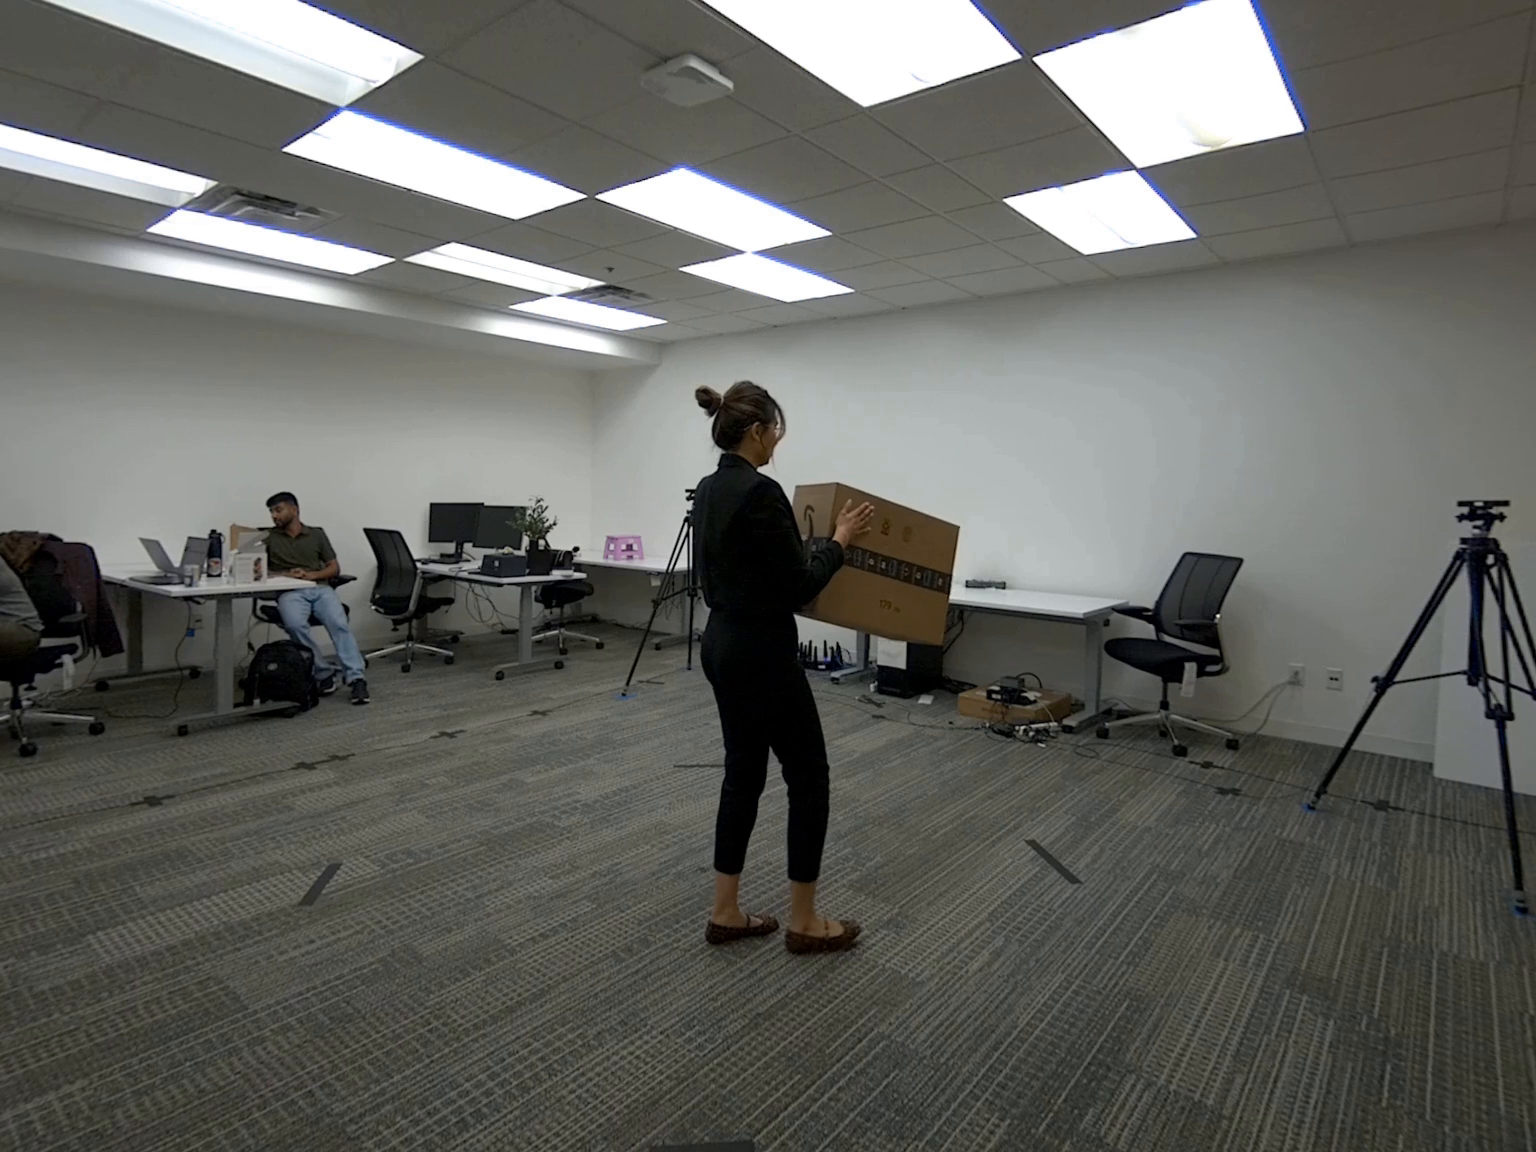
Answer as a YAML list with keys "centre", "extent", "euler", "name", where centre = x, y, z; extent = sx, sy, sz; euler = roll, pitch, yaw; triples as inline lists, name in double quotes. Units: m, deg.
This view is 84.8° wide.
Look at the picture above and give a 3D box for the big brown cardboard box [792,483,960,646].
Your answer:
- centre: [0.338, -0.038, 2.820]
  extent: [0.569, 0.420, 0.240]
  euler: [15, -8, -33]
  name: "big brown cardboard box"
